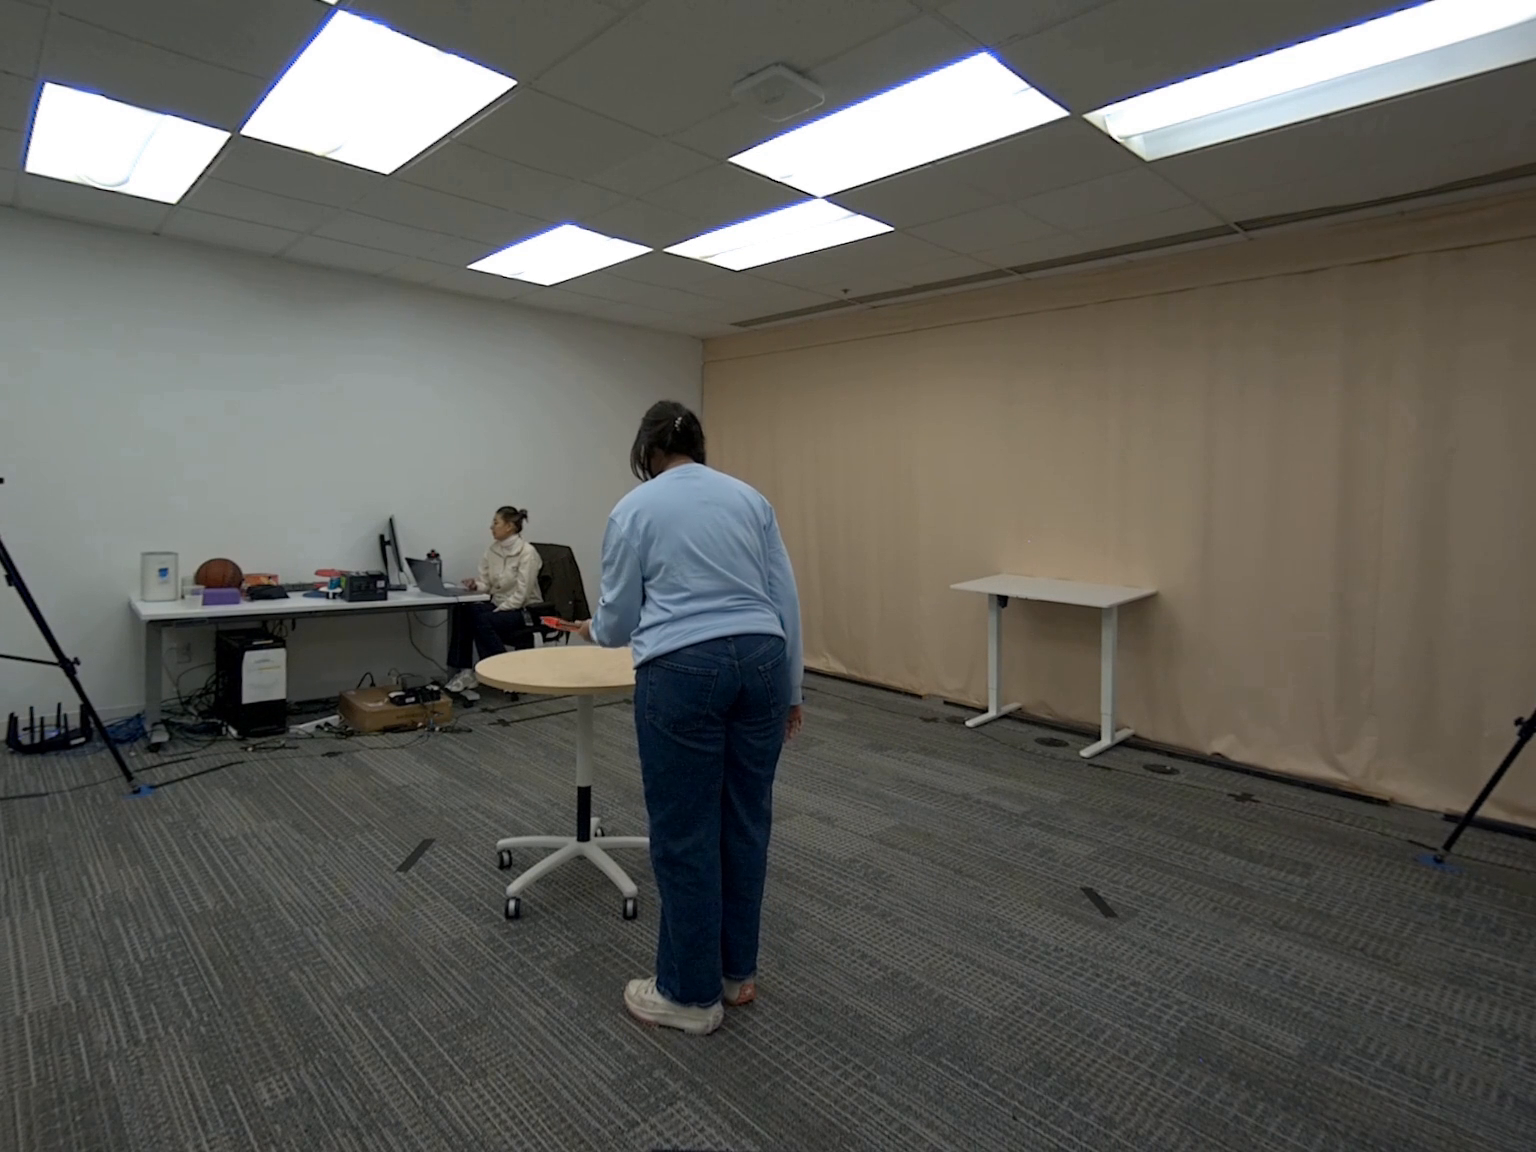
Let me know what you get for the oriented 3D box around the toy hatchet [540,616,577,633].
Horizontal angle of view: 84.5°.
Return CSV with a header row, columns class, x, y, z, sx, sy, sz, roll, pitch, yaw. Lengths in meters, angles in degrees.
class,x,y,z,sx,sy,sz,roll,pitch,yaw
toy hatchet,-0.602,0.168,2.704,0.276,0.030,0.127,9,-16,25
